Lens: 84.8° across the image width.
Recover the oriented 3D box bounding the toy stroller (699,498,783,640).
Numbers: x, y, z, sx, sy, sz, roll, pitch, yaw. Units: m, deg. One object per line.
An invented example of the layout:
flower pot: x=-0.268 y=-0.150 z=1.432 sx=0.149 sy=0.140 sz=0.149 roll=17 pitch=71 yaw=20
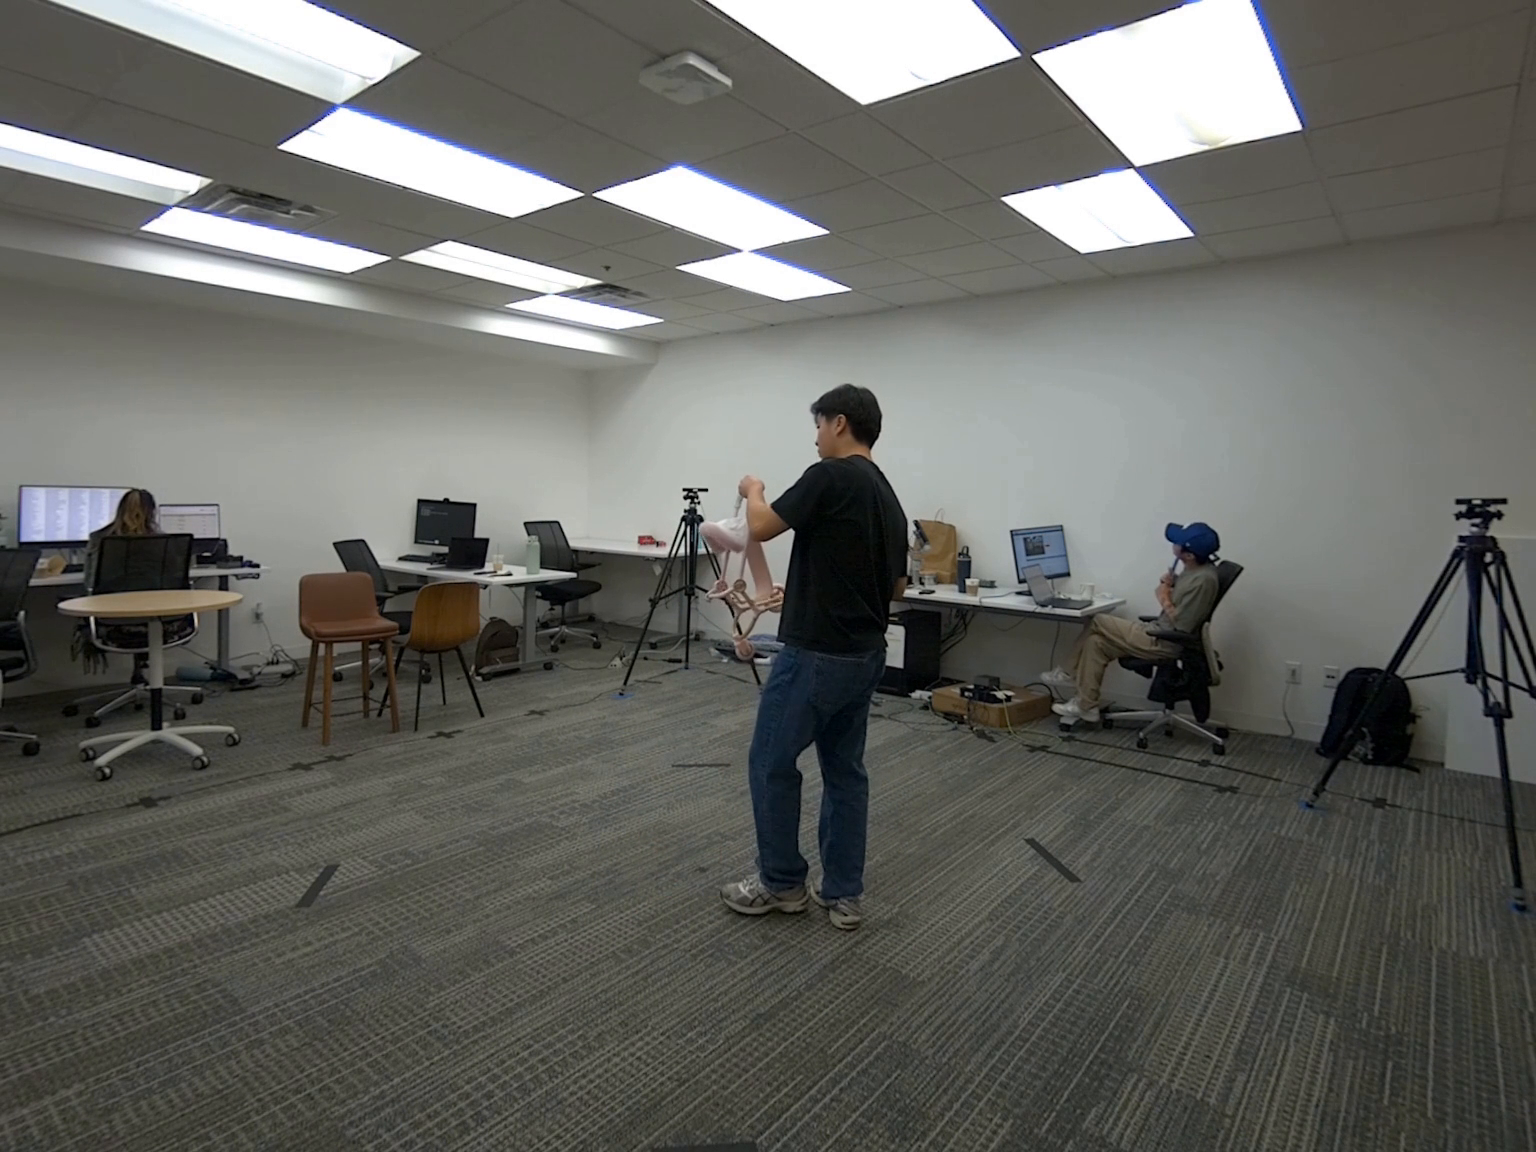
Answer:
toy stroller: x=-0.114 y=-0.008 z=3.024 sx=0.339 sy=0.531 sz=0.286 roll=-29 pitch=6 yaw=-15
